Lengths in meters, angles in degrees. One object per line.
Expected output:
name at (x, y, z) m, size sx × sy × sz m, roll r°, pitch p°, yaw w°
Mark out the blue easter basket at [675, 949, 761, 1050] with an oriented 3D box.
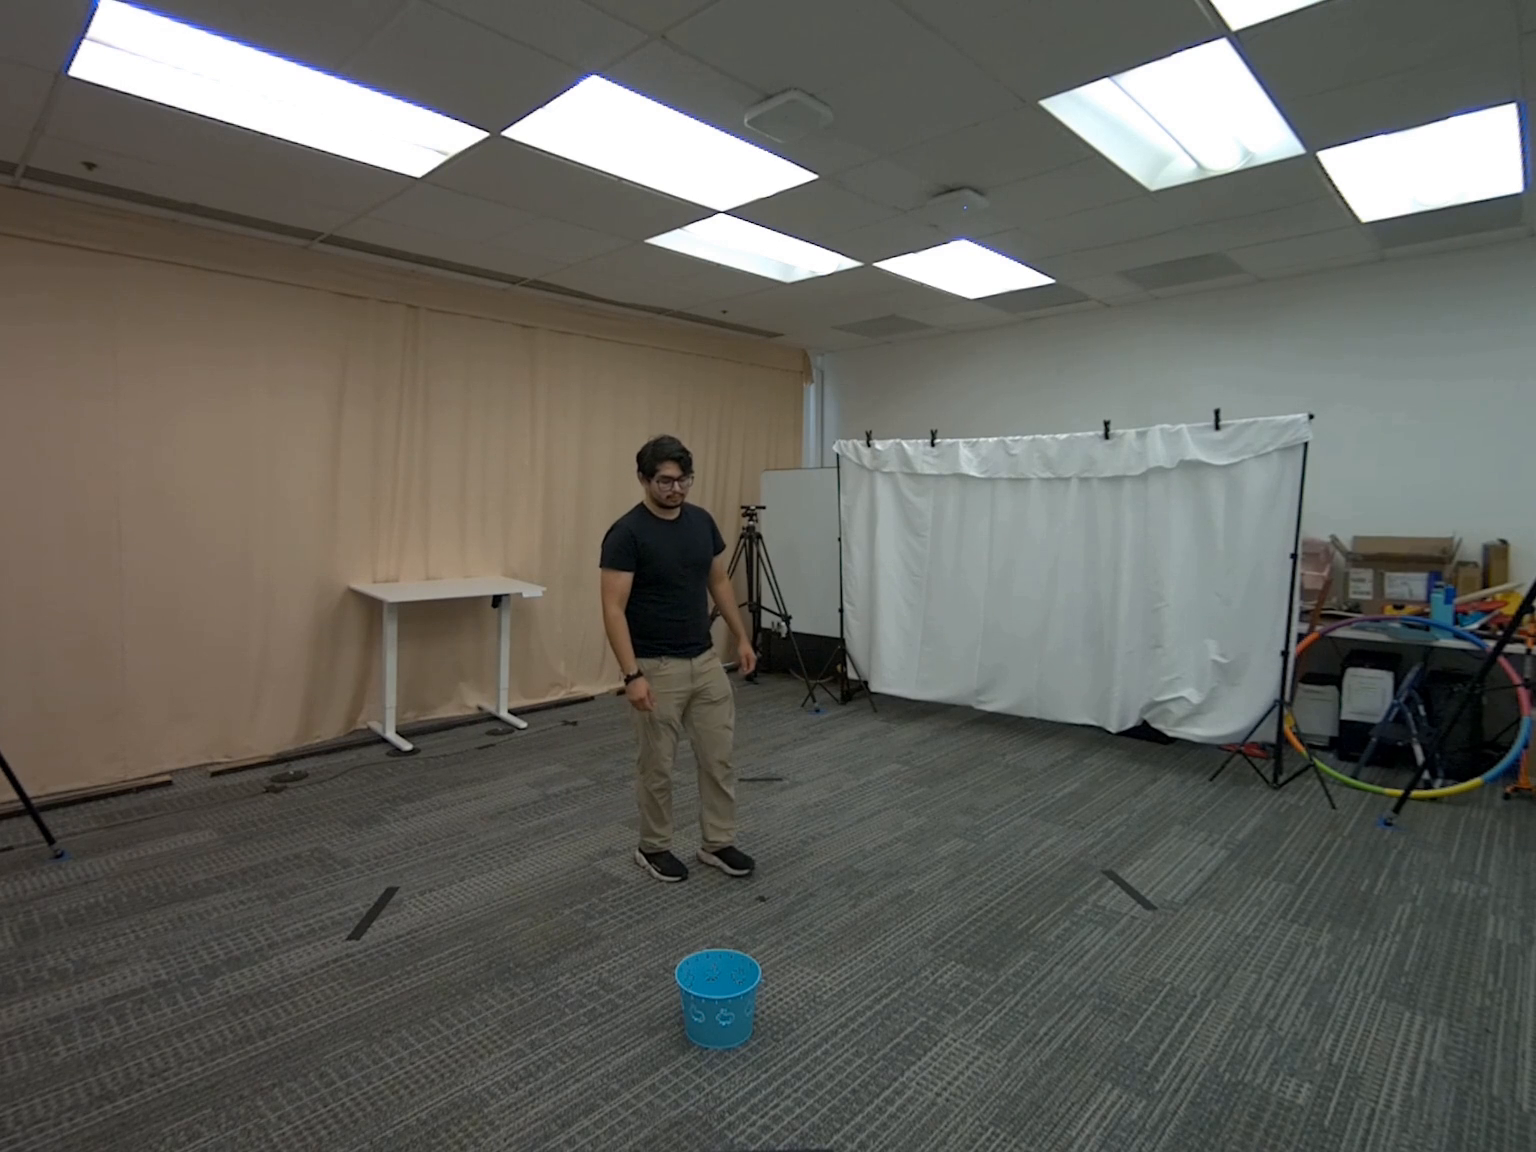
blue easter basket at (-0.124, 1.127, 2.246) m, size 0.243 × 0.155 × 0.244 m, roll 0°, pitch 4°, yaw -2°
